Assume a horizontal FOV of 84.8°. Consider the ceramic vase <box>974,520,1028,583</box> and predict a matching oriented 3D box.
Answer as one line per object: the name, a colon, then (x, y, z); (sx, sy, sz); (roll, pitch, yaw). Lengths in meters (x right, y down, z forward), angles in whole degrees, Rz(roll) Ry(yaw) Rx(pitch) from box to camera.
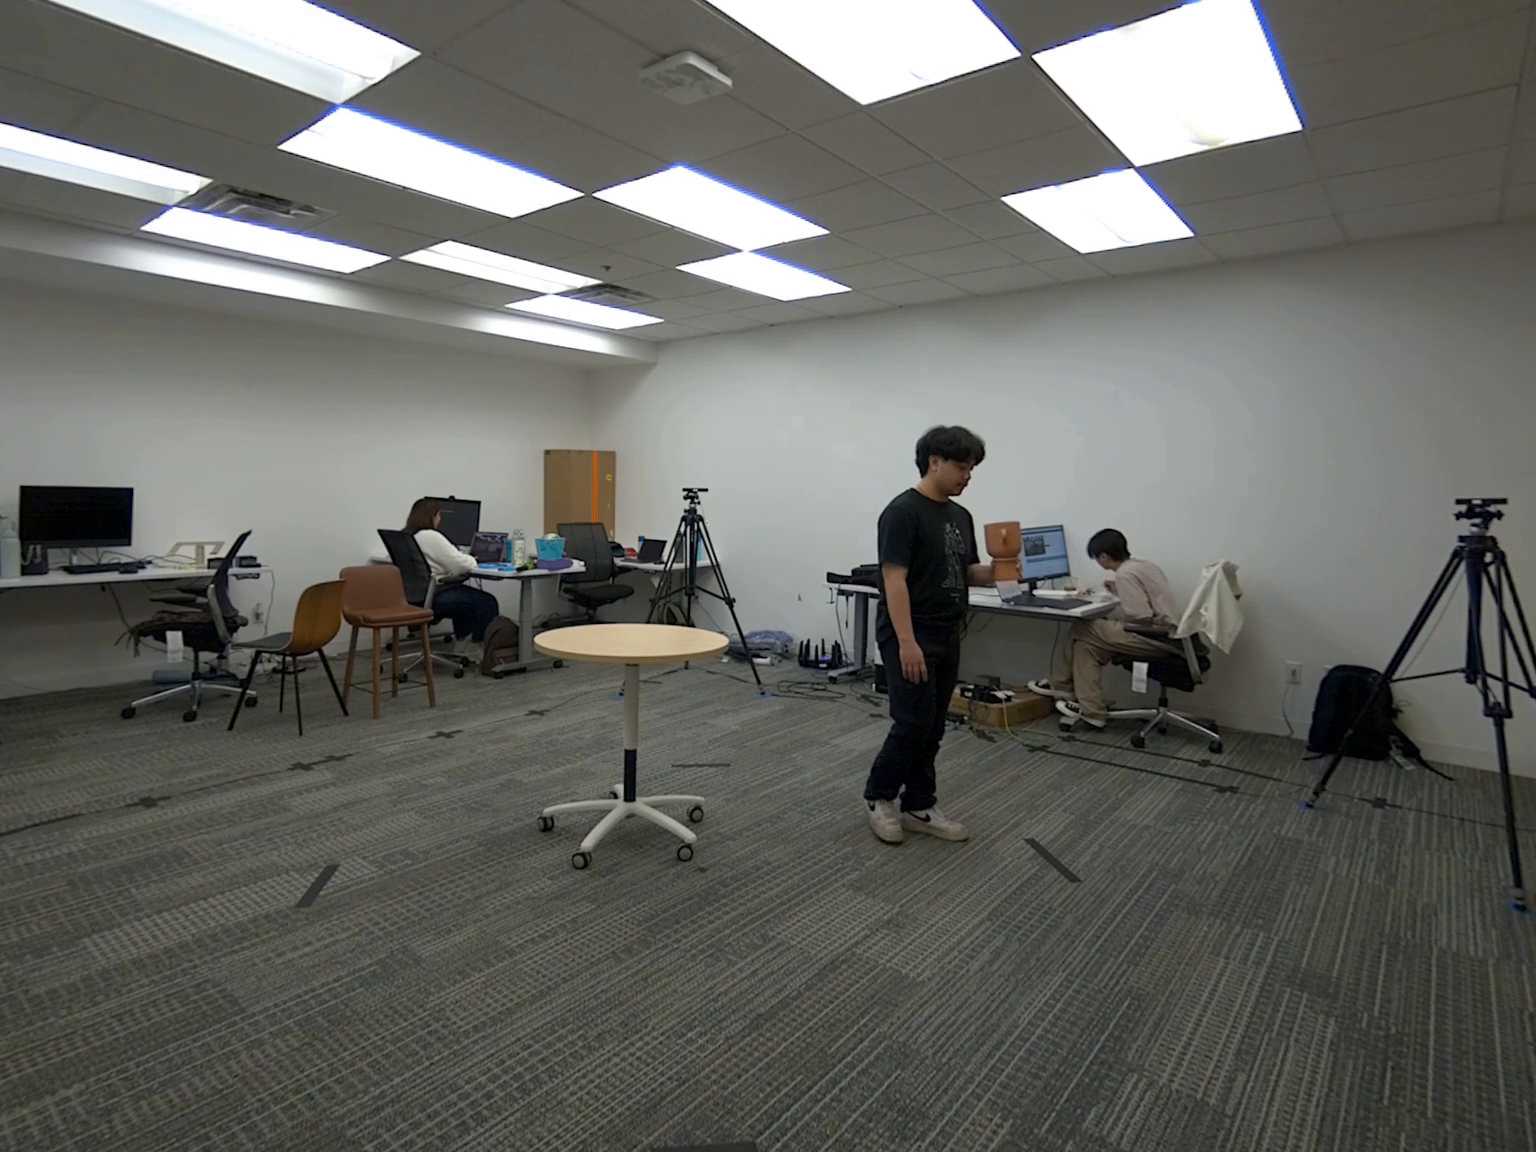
ceramic vase: (0.891, -0.099, 3.268); (0.155, 0.219, 0.138); (-8, 3, -36)
